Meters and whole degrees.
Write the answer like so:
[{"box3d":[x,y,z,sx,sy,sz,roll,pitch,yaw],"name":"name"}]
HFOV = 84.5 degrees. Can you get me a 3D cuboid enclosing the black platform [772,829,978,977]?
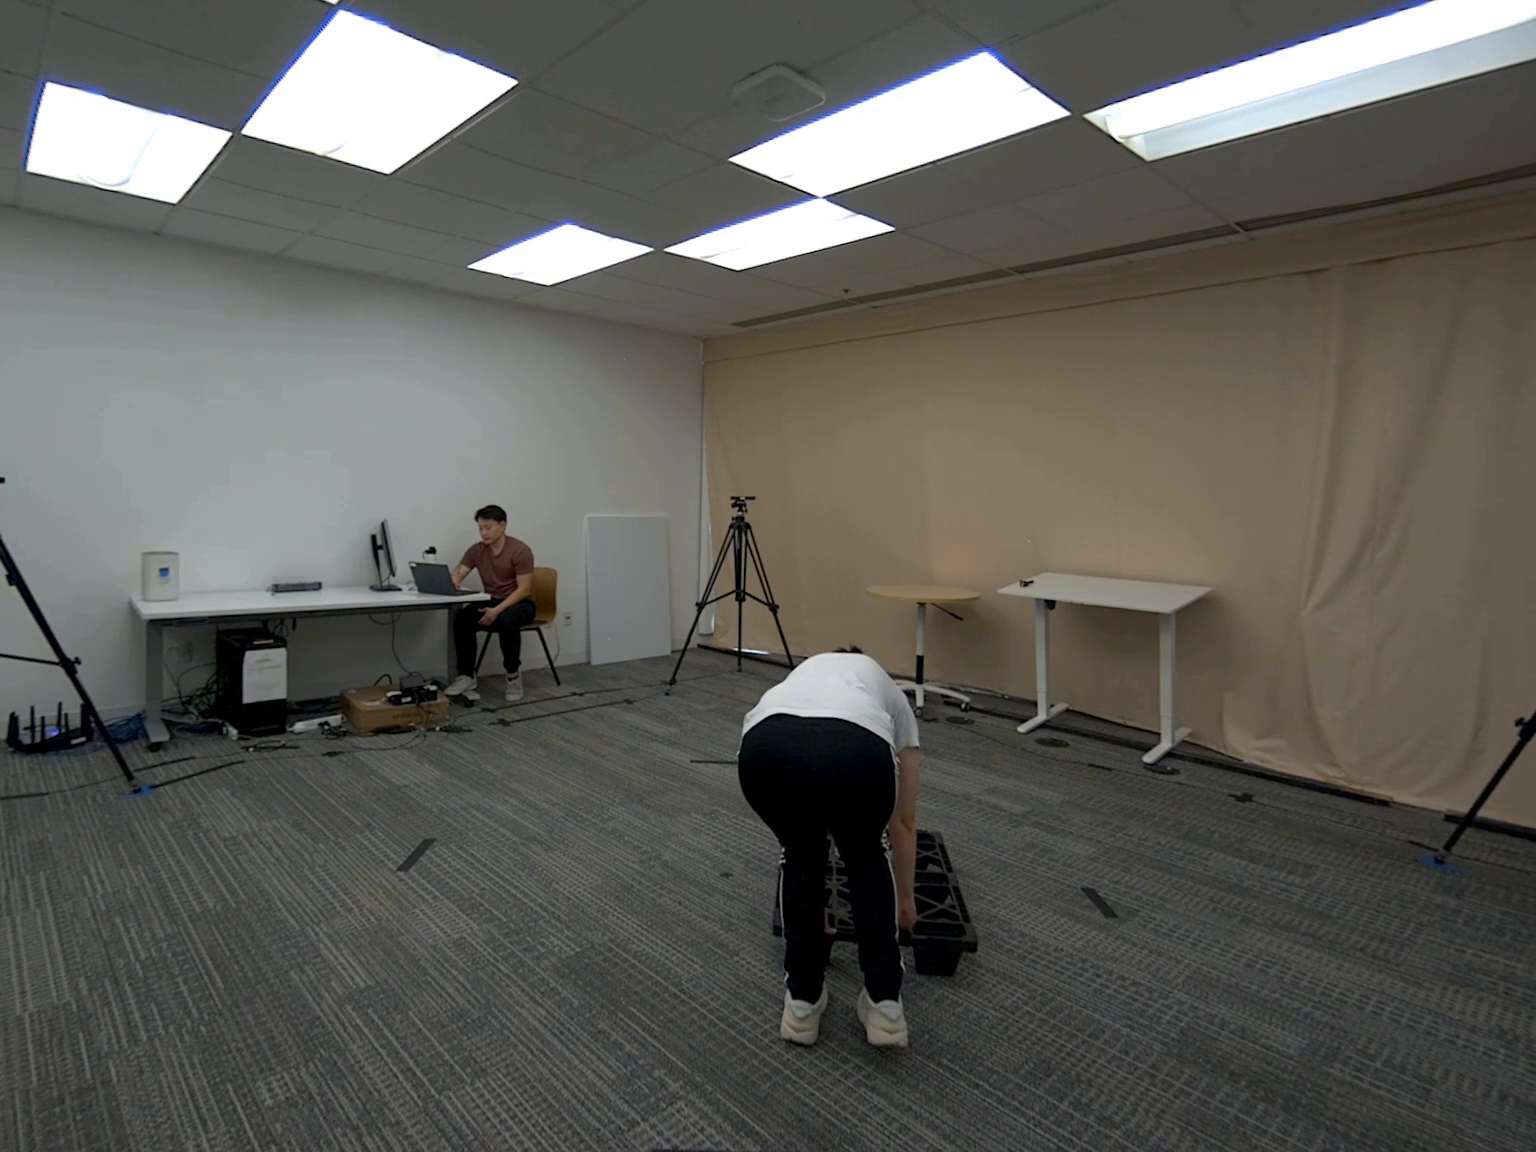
[{"box3d":[0.332,1.071,2.859,0.608,0.143,0.805,3,6,4],"name":"black platform"}]
